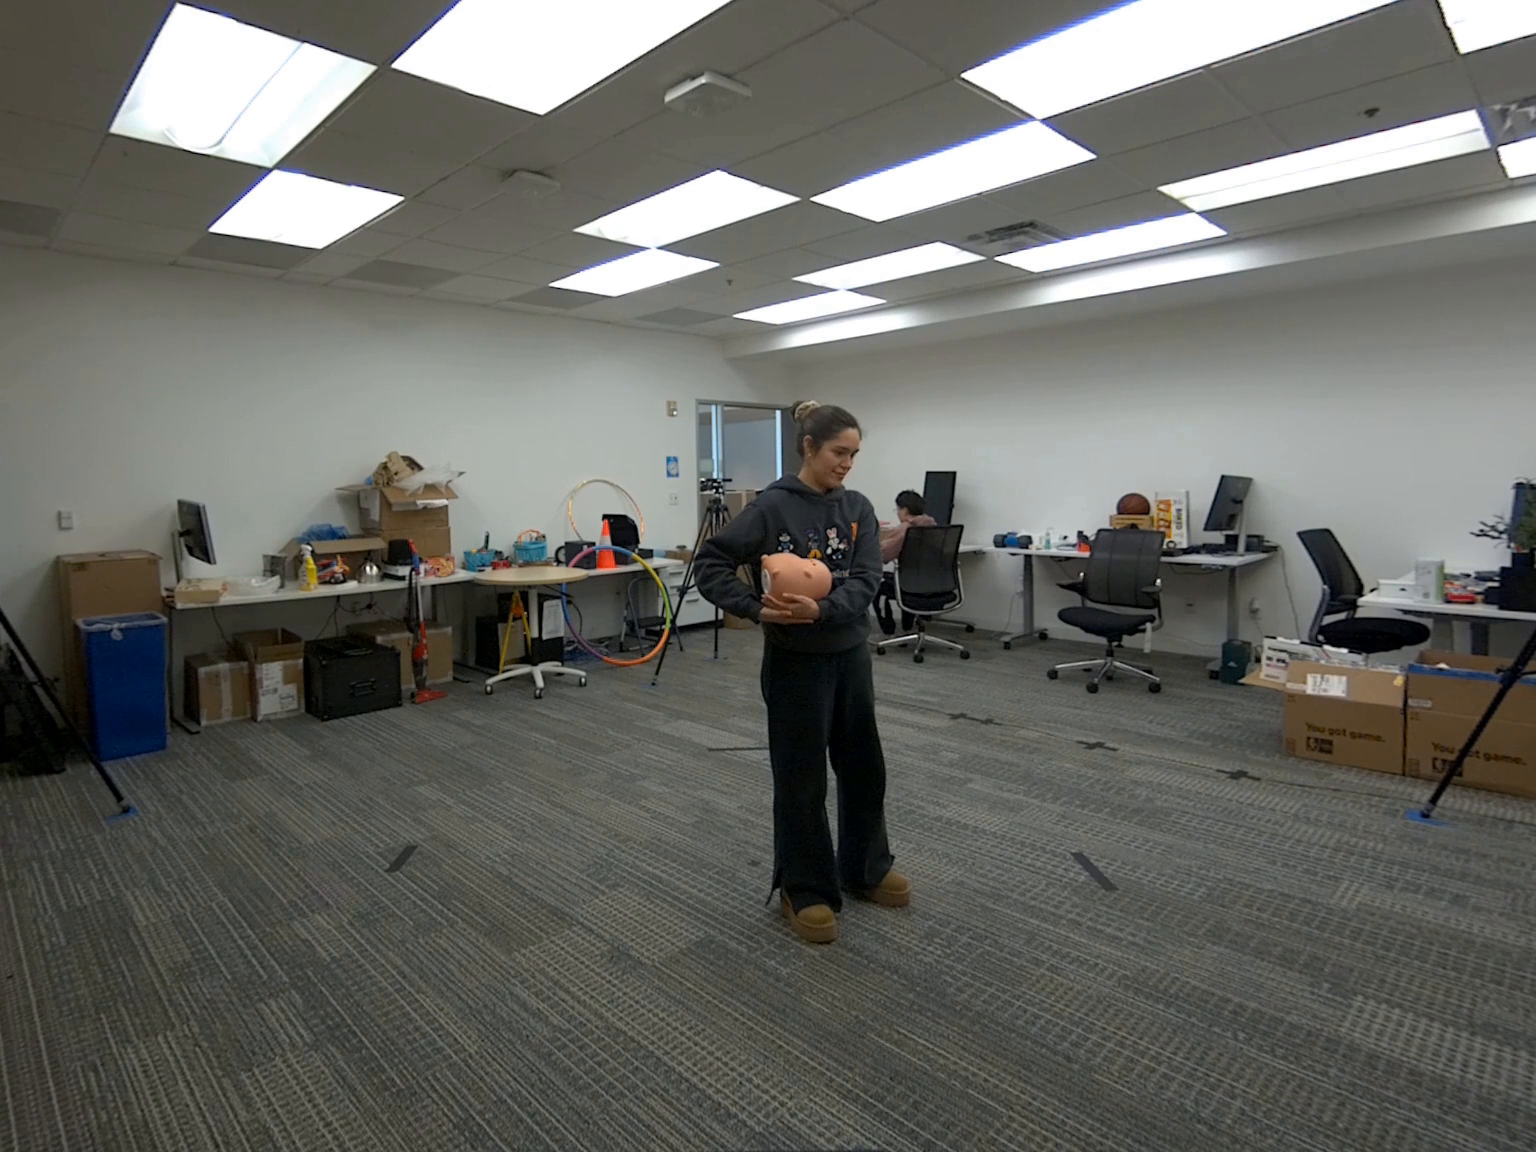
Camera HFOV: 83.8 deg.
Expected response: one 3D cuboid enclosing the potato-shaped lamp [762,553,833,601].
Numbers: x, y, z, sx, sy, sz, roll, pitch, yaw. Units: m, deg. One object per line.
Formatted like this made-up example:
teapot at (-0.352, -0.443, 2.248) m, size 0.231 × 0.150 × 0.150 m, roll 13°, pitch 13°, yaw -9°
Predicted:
potato-shaped lamp at (0.079, 0.019, 2.459) m, size 0.195 × 0.168 × 0.170 m, roll -8°, pitch 20°, yaw -17°
